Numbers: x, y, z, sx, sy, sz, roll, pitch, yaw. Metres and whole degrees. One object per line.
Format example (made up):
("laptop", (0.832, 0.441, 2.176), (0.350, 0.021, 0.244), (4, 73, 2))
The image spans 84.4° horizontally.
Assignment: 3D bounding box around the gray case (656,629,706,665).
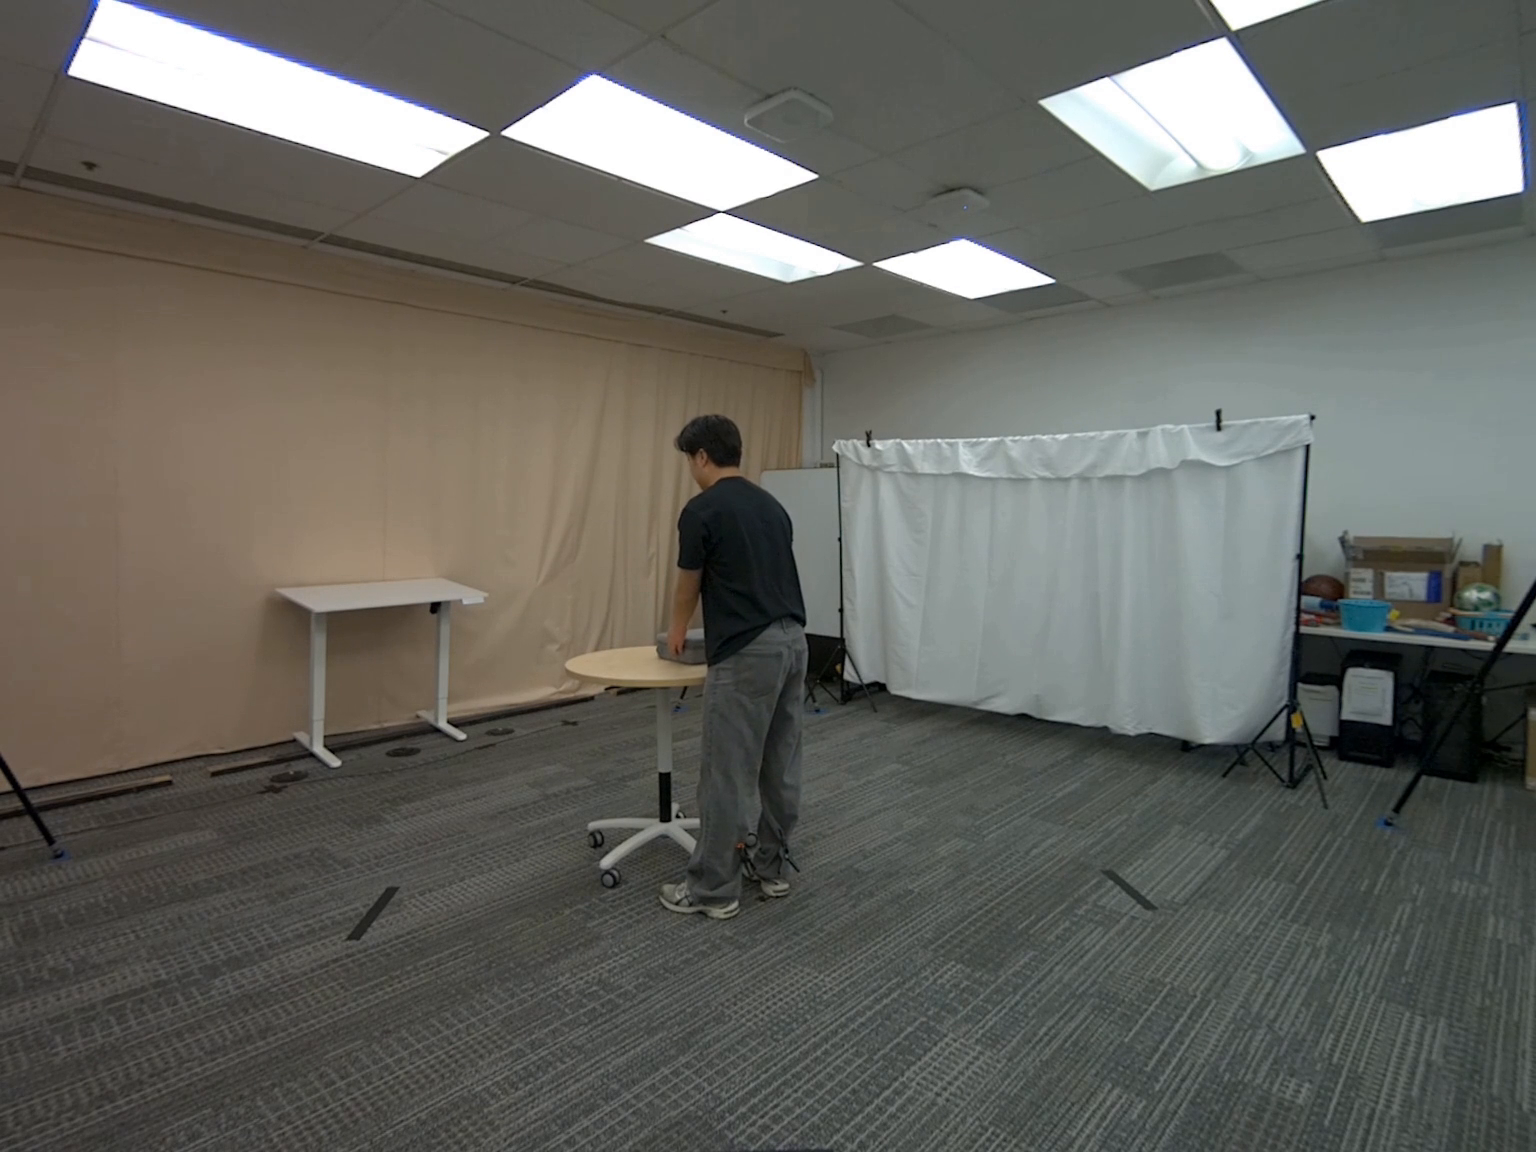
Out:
("gray case", (-0.298, 0.279, 3.385), (0.255, 0.103, 0.296), (-5, 5, -42))
